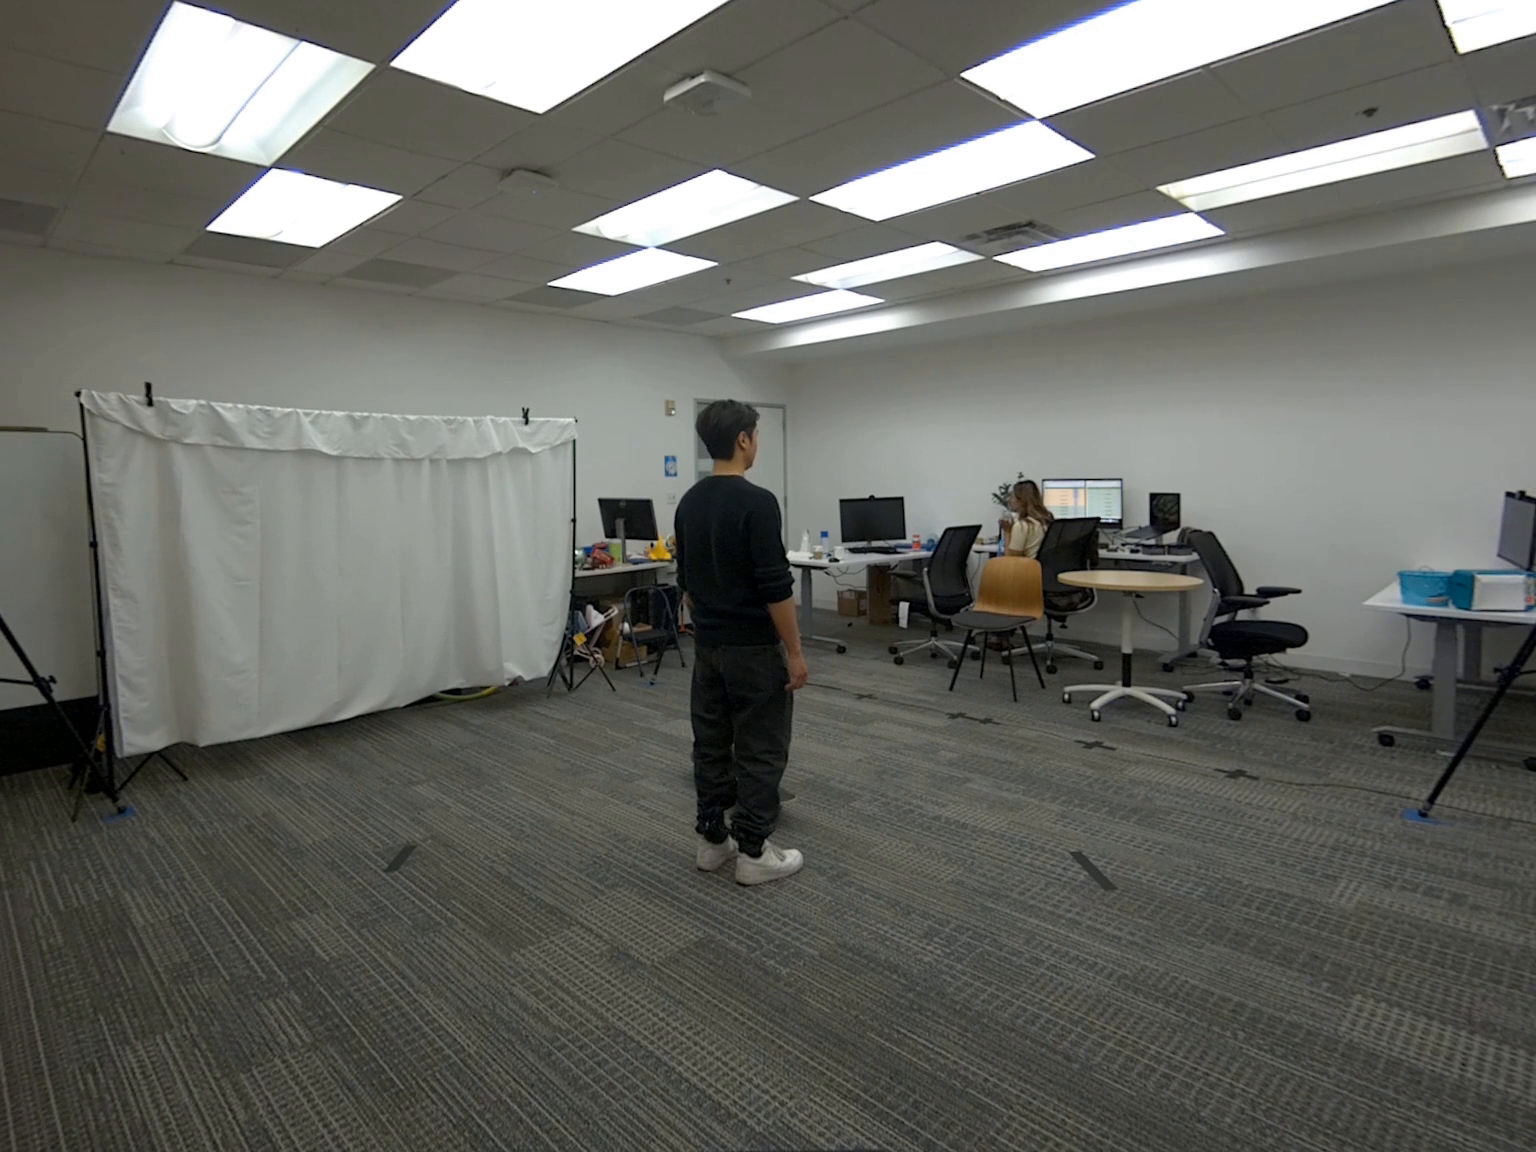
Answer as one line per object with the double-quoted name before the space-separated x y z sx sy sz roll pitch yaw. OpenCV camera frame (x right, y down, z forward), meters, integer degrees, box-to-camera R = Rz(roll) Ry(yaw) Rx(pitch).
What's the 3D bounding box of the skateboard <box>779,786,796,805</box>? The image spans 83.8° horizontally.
"skateboard" -0.117 0.917 3.751 0.189 0.110 0.806 -4 6 -29
